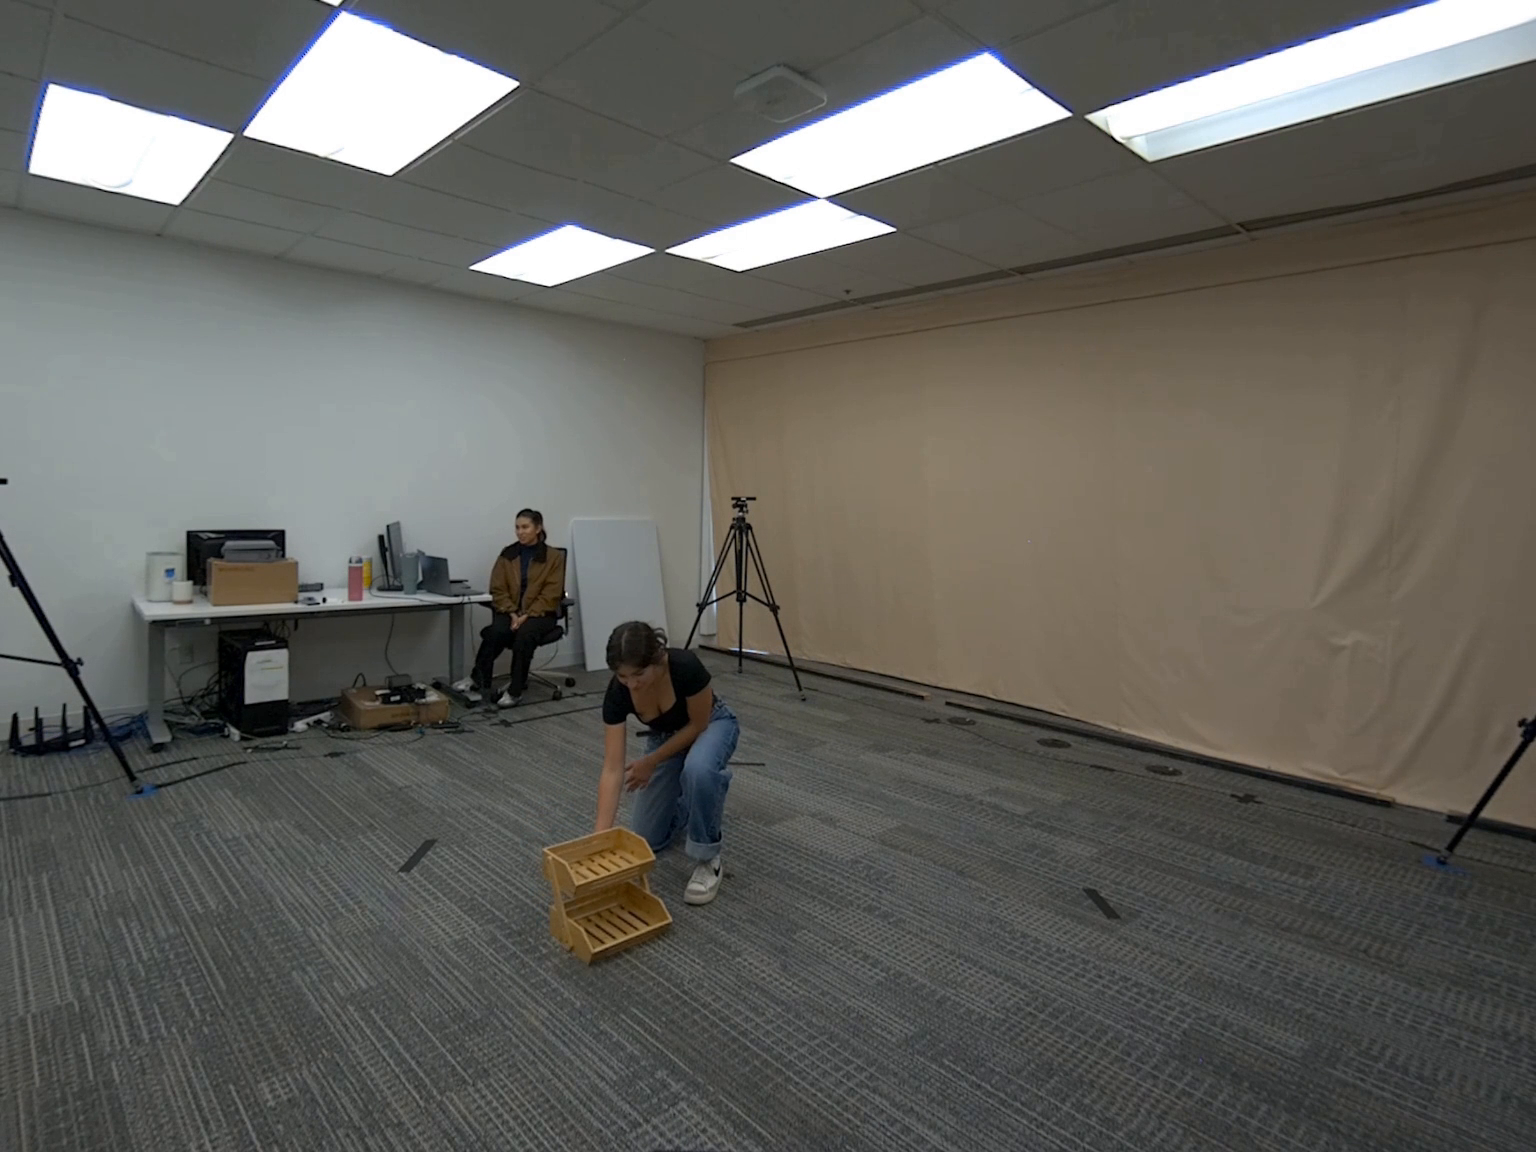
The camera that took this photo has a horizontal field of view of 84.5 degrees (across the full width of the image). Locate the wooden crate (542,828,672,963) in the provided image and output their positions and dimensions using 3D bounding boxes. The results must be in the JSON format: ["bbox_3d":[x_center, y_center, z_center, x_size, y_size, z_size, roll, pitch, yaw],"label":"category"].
[{"bbox_3d":[-0.522,1.008,2.676,0.317,0.273,0.310,-2,5,-44],"label":"wooden crate"}]
